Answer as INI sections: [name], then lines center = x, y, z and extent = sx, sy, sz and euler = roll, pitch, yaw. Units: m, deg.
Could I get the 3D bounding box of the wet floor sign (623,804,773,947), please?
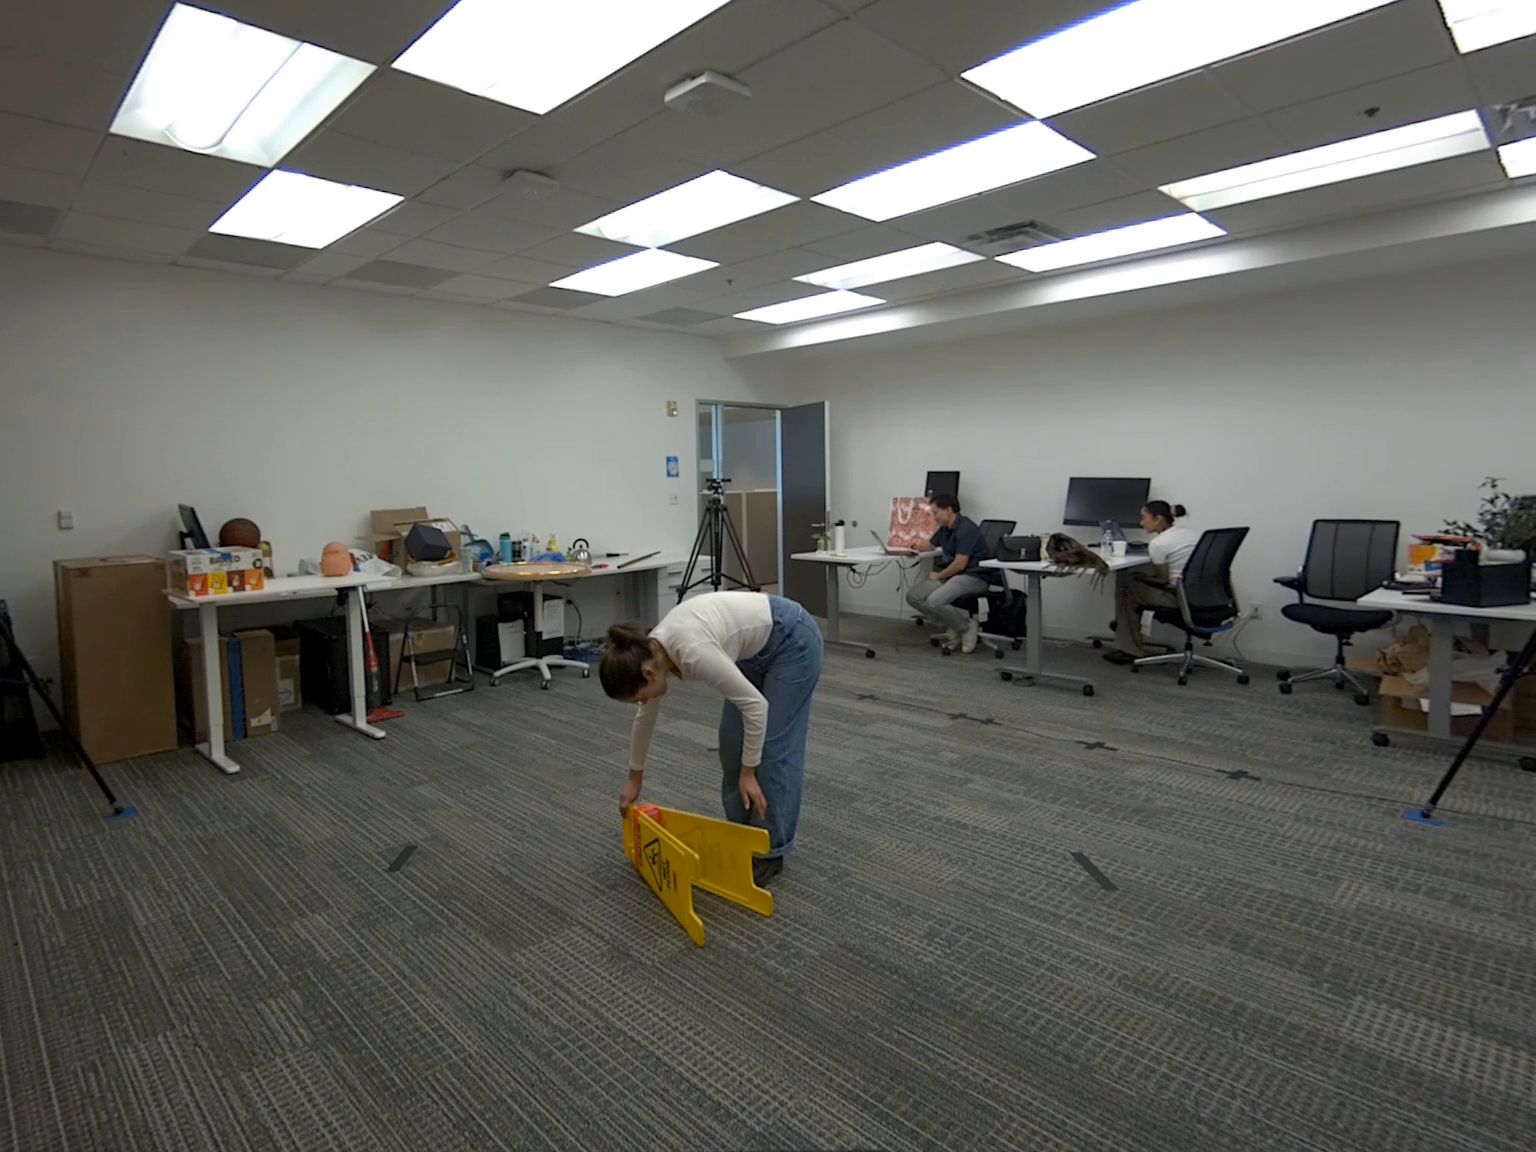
[wet floor sign]
center = -0.300, 0.944, 2.886
extent = 0.282, 0.281, 0.665
euler = -5, 6, -39
